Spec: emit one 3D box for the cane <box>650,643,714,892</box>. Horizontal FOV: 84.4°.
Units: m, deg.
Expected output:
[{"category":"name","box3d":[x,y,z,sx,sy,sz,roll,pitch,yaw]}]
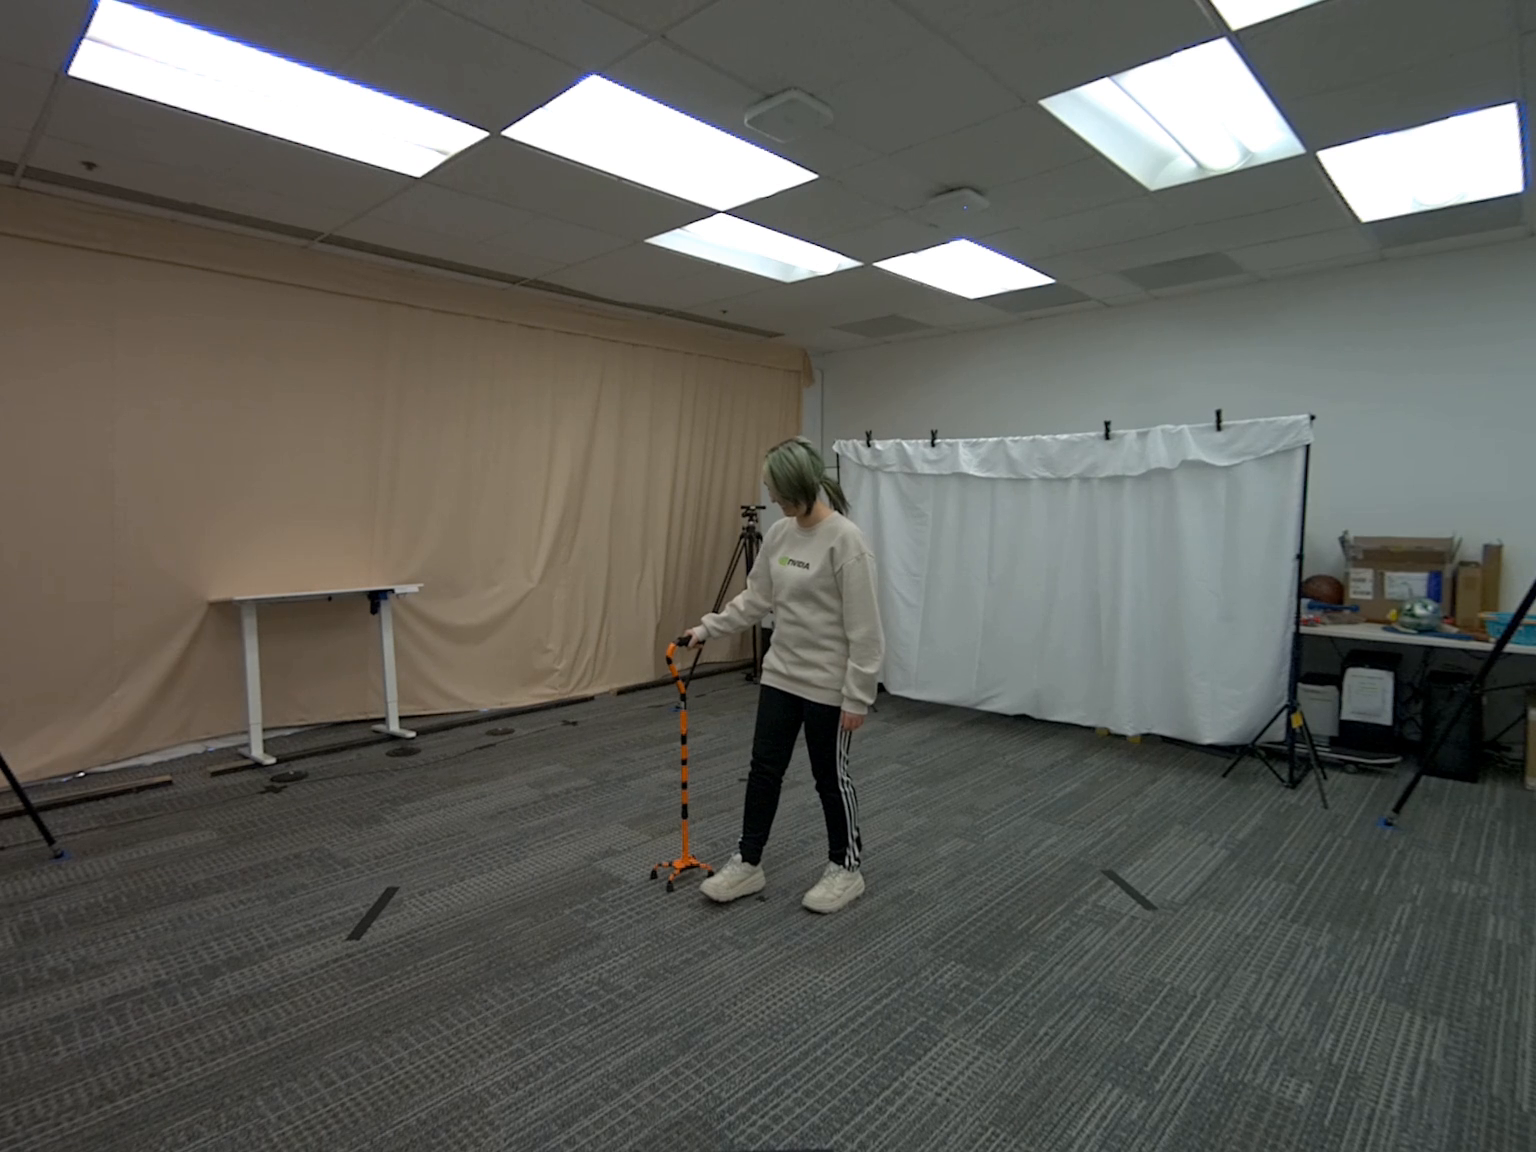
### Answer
[{"category":"cane","box3d":[-0.327,0.677,3.122,0.200,0.905,0.156,-5,4,-36]}]
